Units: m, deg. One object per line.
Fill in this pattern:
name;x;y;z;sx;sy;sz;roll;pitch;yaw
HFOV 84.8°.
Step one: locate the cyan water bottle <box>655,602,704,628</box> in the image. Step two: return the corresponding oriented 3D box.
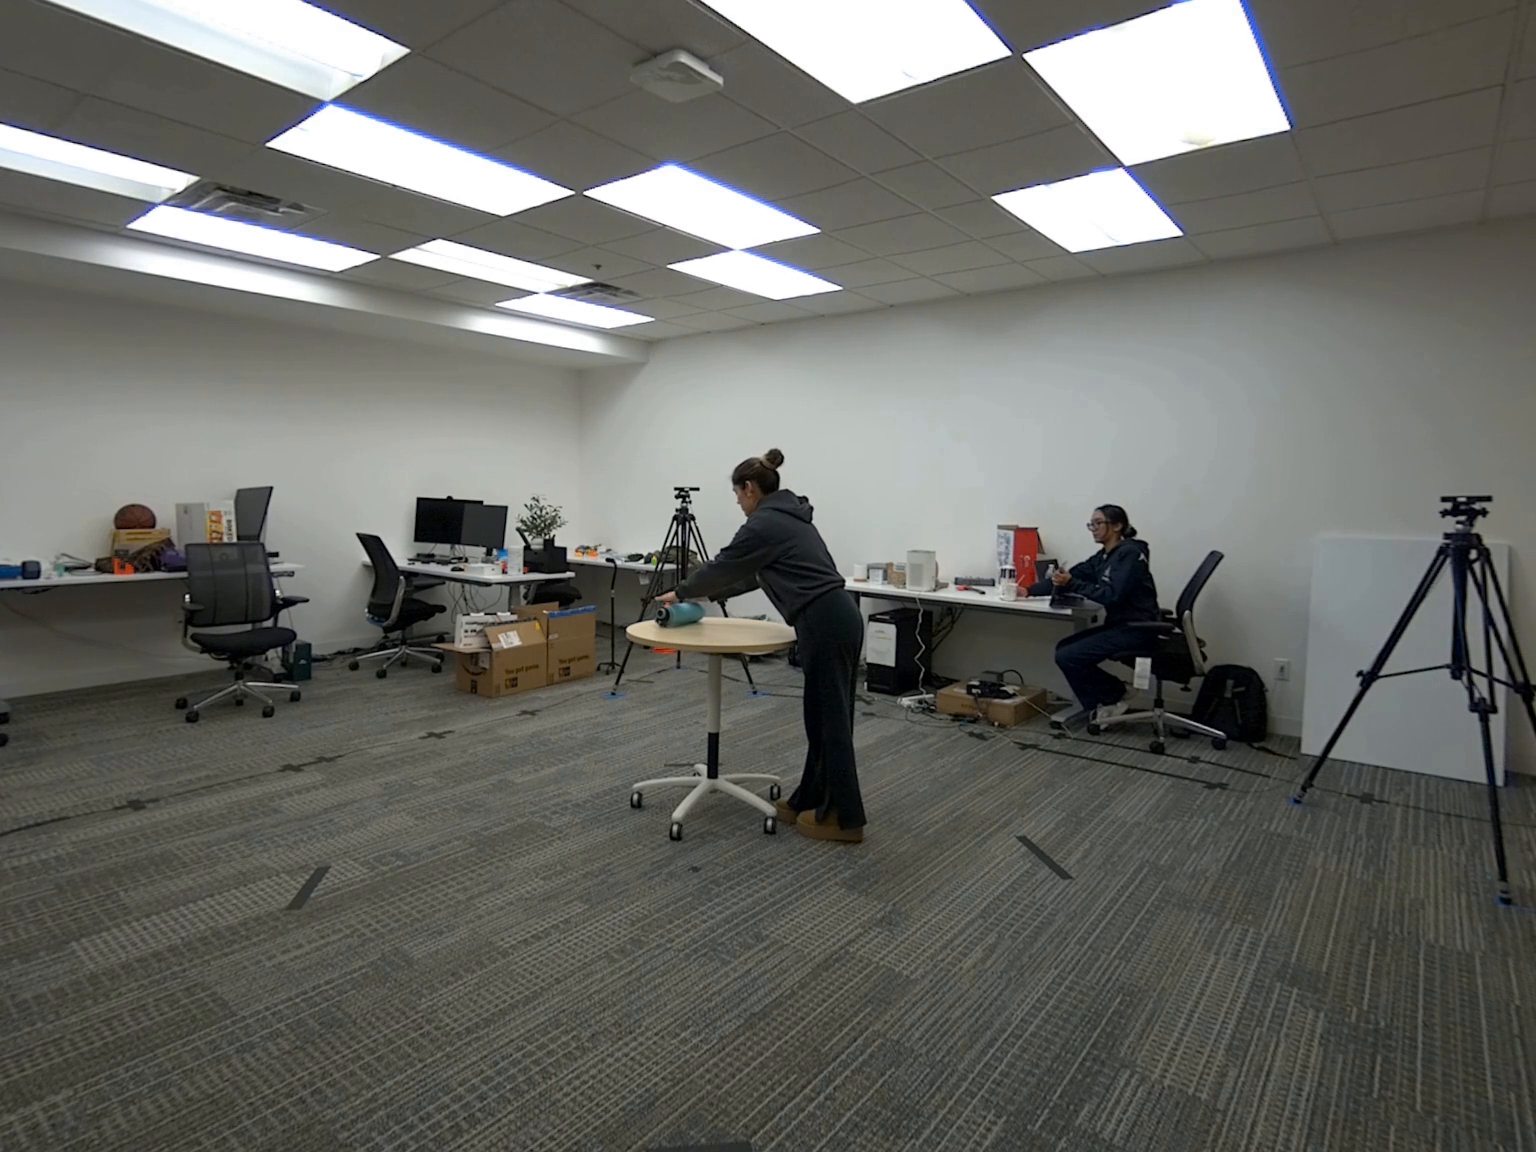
cyan water bottle;-0.396;0.165;3.789;0.095;0.092;0.275;3;5;37
